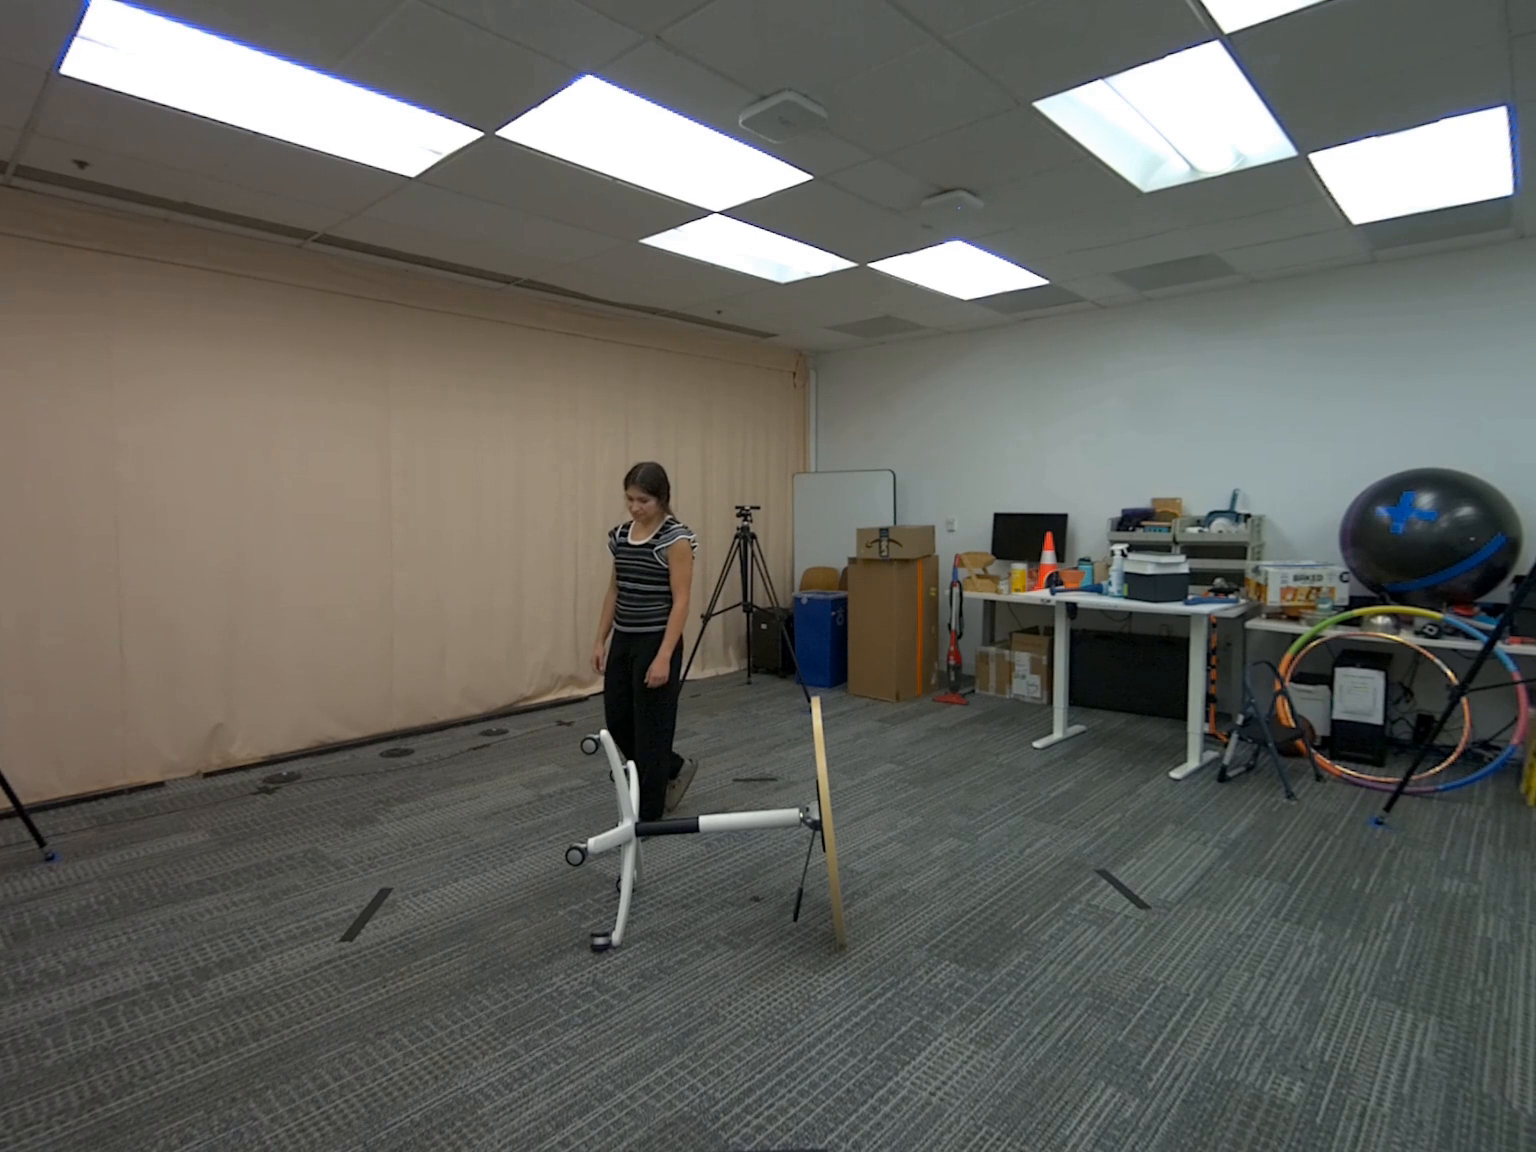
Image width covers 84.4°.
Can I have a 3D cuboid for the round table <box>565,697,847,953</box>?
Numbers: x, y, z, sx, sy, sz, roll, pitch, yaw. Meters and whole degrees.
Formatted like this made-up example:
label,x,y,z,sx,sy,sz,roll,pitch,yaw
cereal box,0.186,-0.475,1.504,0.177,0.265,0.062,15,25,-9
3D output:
label,x,y,z,sx,sy,sz,roll,pitch,yaw
round table,-0.184,0.821,2.787,0.791,0.783,0.782,-6,3,5
